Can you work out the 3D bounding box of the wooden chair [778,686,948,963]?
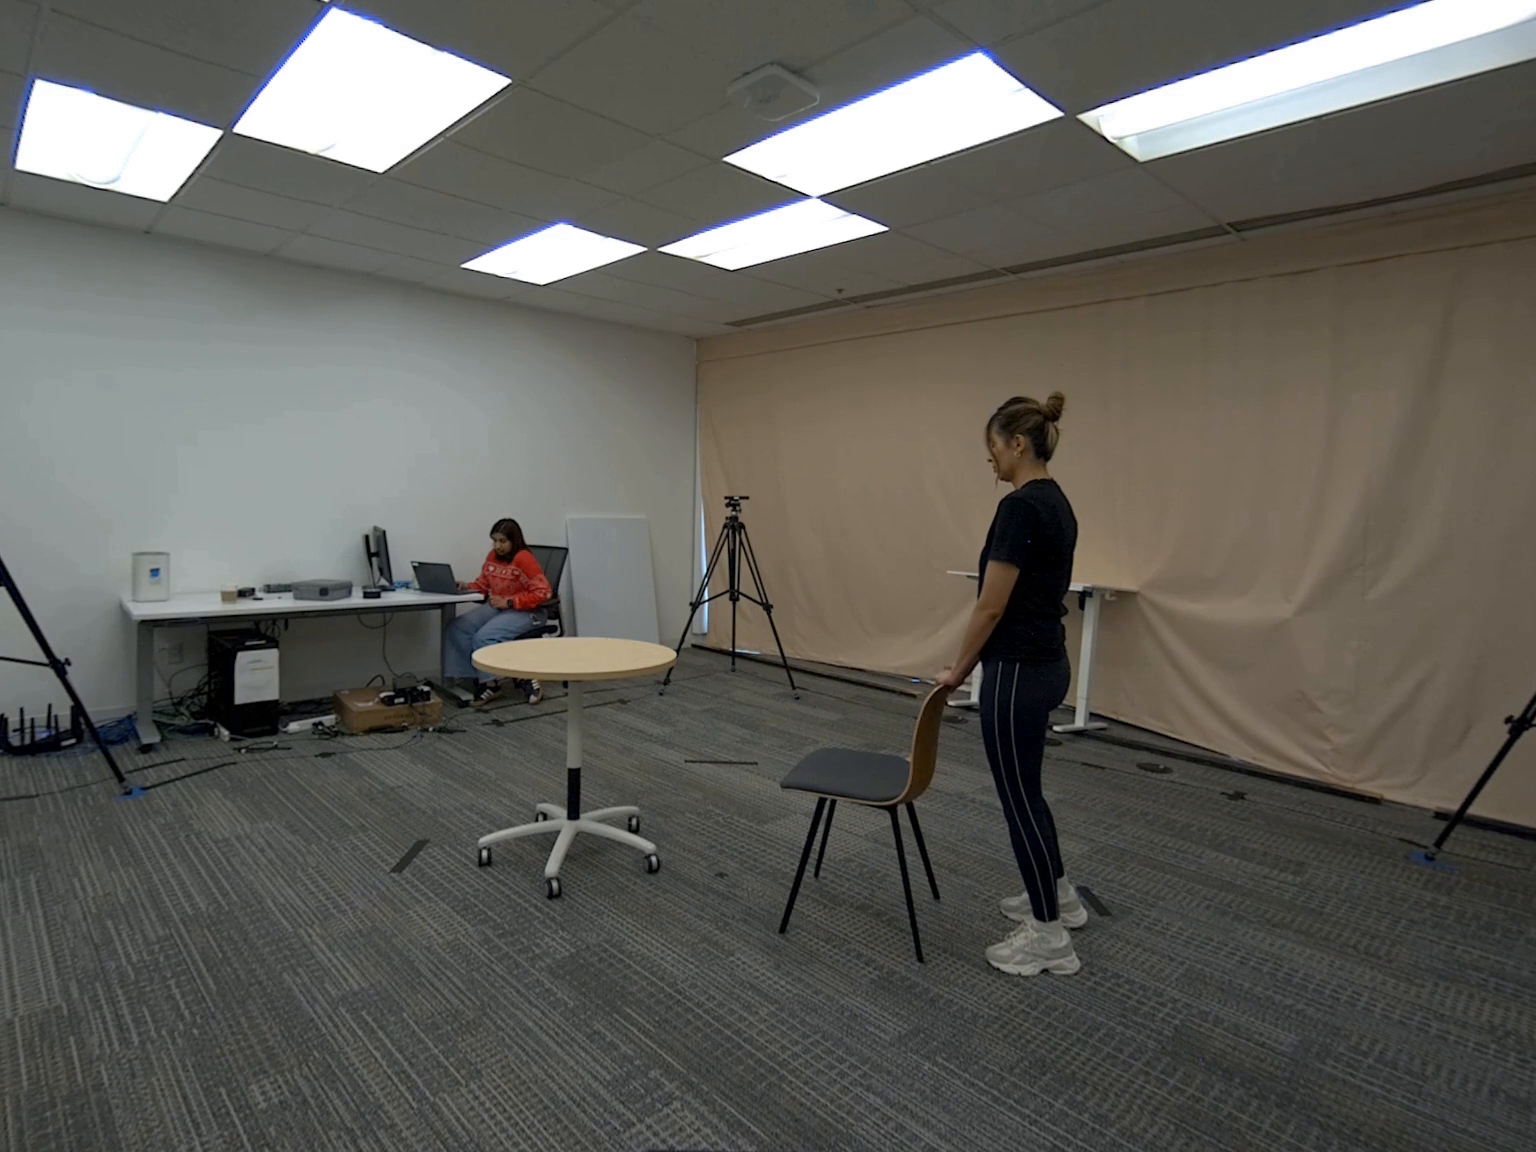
[{"bbox_3d":[0.315,0.714,2.800,0.532,0.874,0.471,7,5,20],"label":"wooden chair"}]
